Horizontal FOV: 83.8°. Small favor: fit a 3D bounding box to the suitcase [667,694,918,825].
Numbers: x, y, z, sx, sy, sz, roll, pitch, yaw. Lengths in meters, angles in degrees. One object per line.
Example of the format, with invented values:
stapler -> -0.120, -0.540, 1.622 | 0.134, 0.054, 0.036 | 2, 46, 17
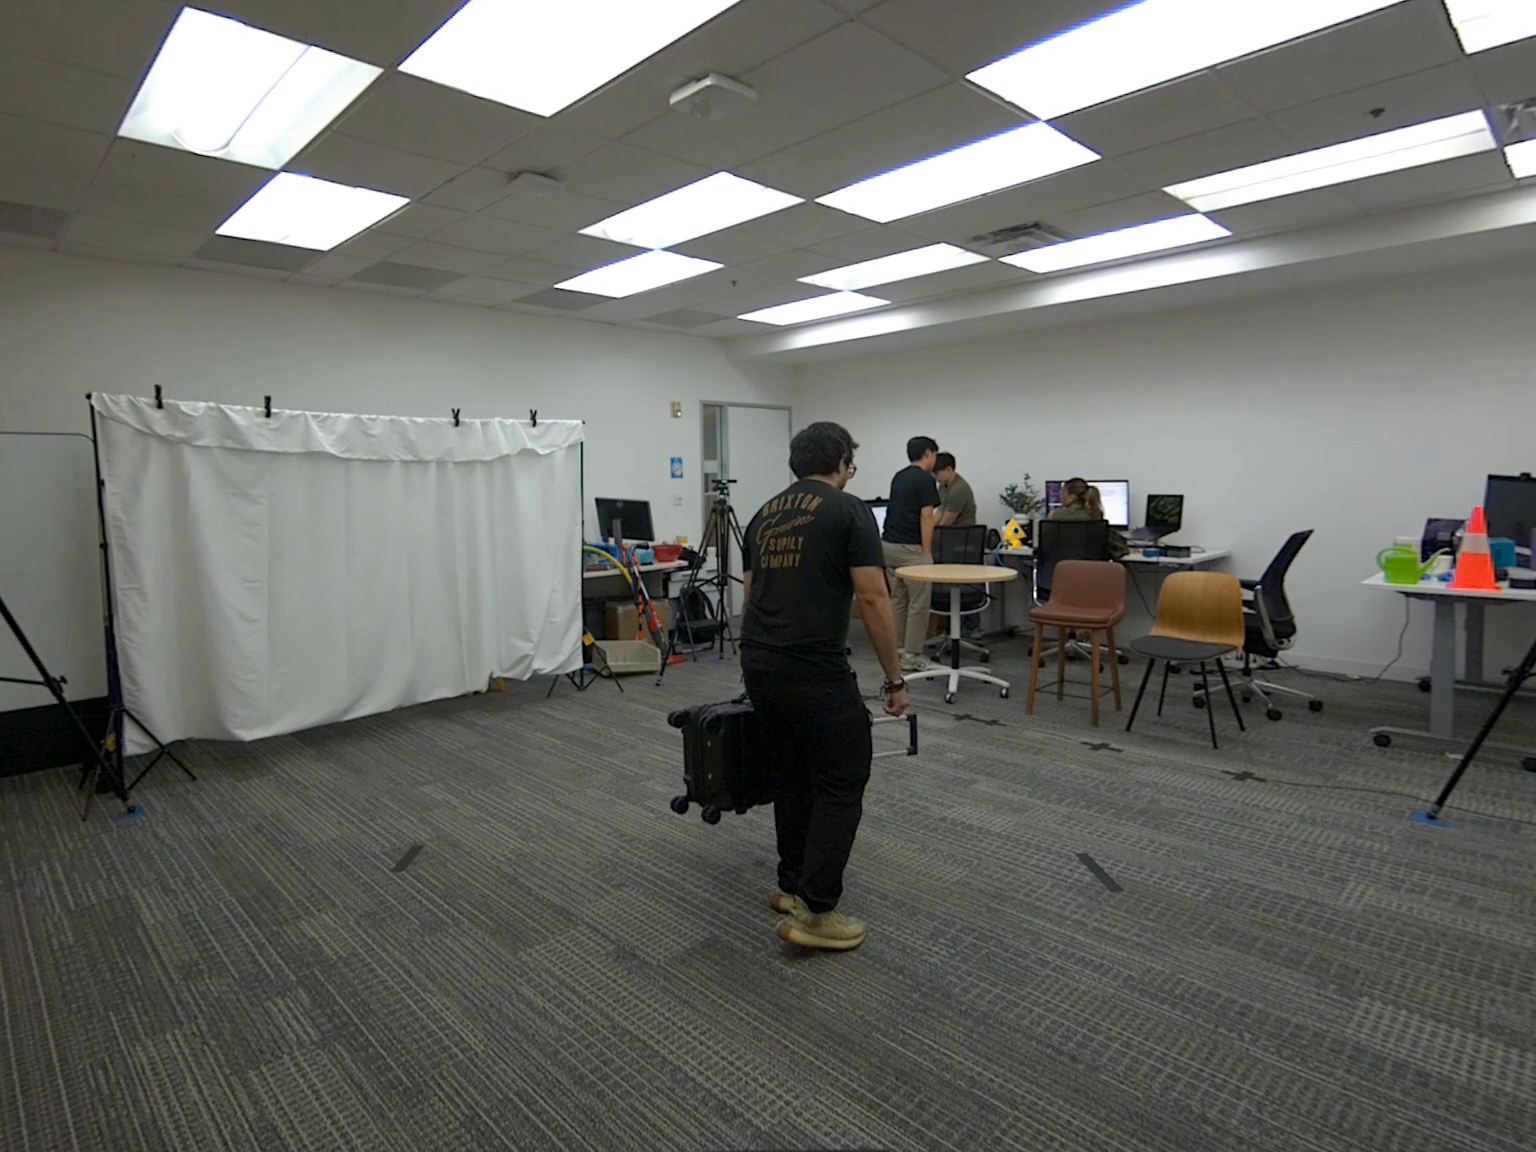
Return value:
suitcase -> 0.113, 0.612, 3.136 | 0.952, 0.386, 0.263 | -1, -5, -36
